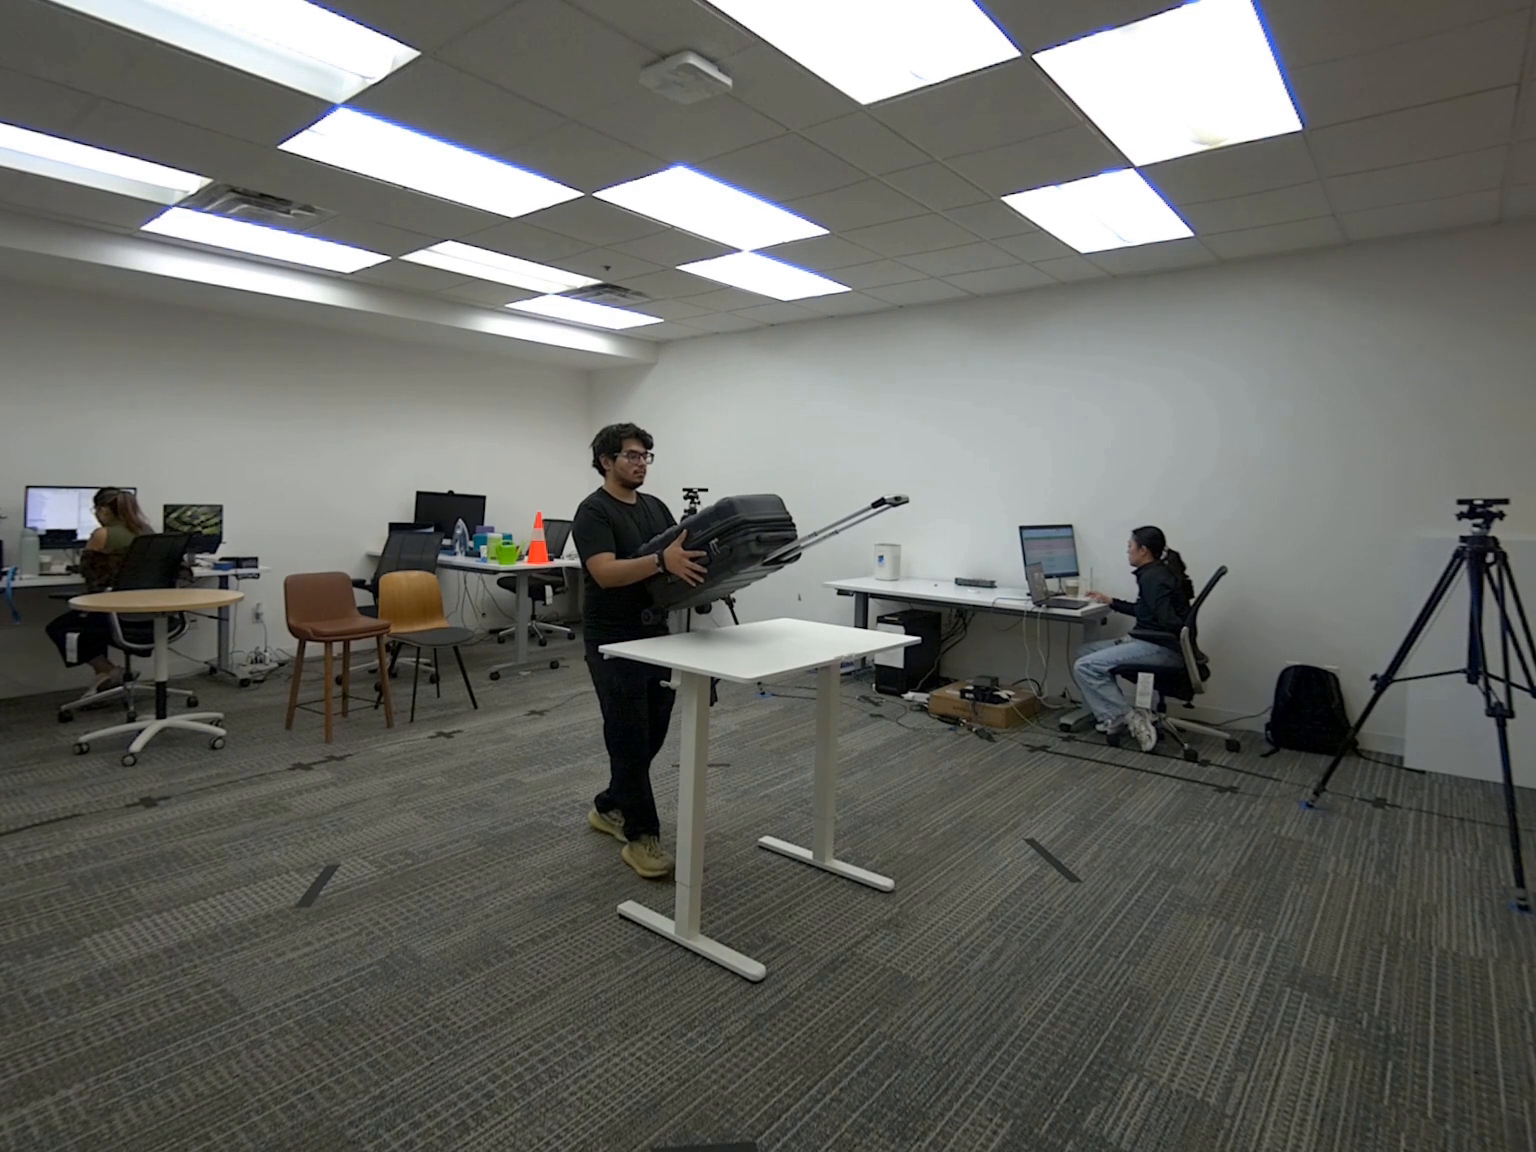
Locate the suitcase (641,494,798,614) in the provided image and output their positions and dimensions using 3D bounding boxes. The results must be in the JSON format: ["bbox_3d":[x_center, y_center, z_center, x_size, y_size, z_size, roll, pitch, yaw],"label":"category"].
[{"bbox_3d":[-0.034,-0.155,2.837,0.991,0.261,0.373,-28,-12,34],"label":"suitcase"}]
